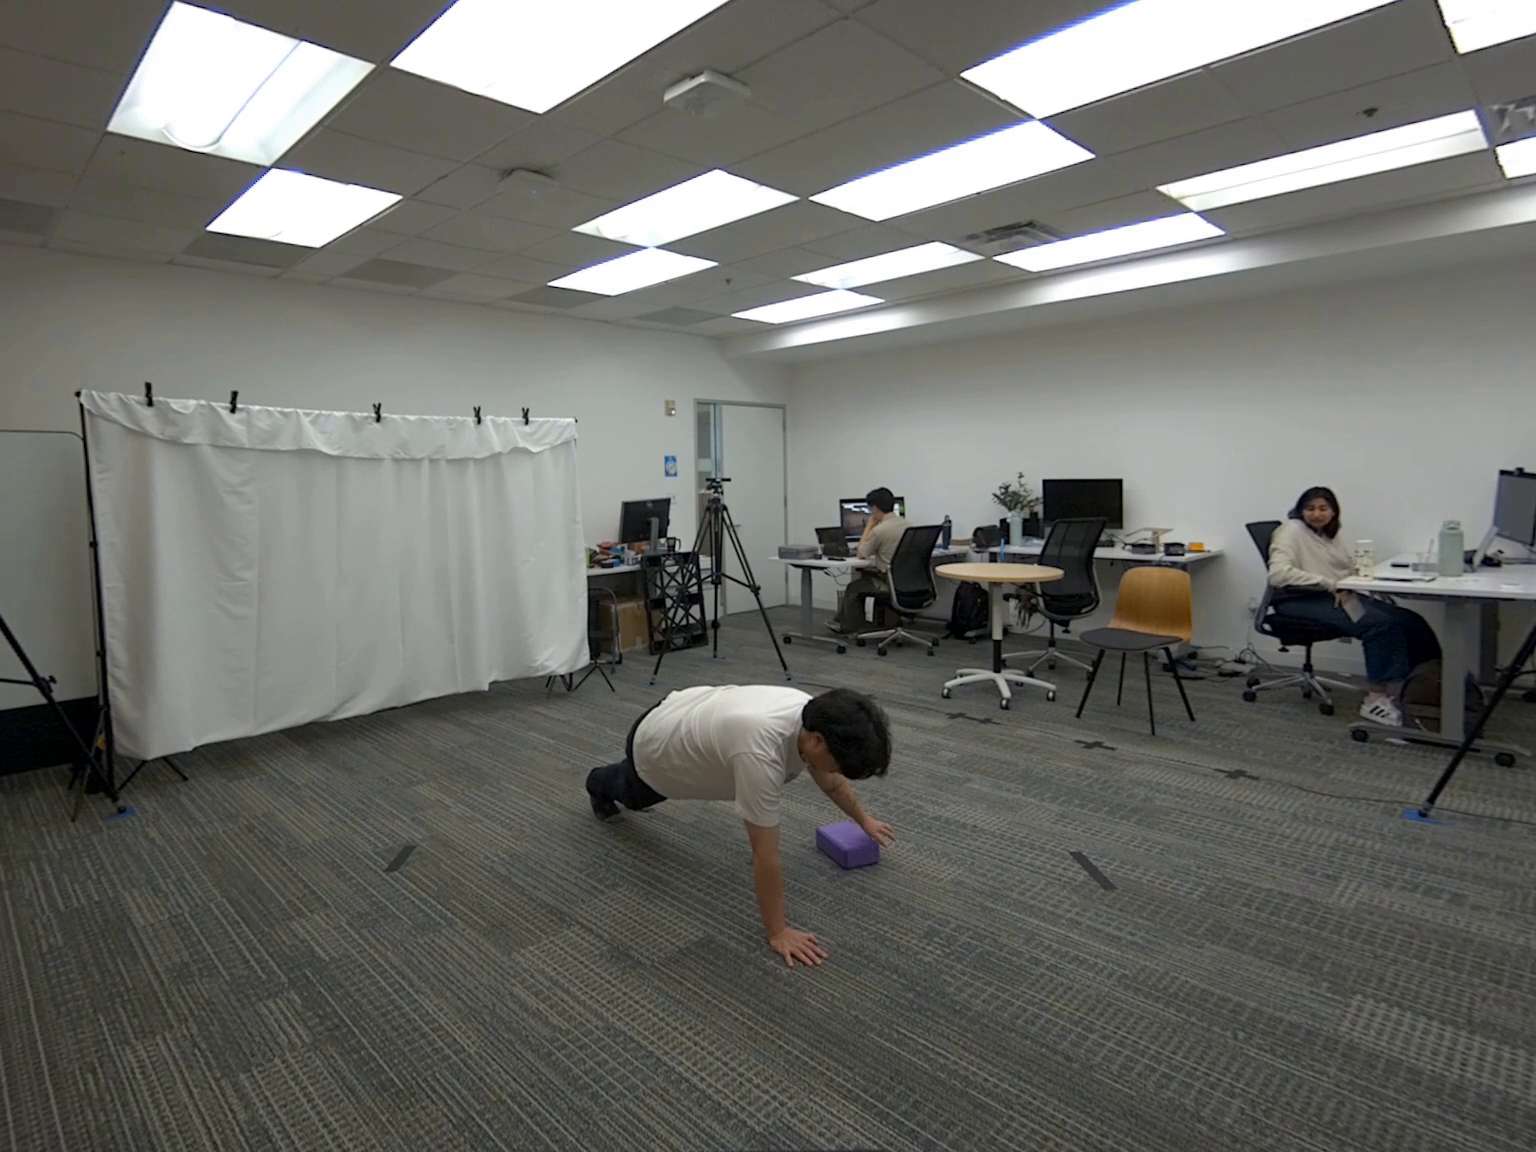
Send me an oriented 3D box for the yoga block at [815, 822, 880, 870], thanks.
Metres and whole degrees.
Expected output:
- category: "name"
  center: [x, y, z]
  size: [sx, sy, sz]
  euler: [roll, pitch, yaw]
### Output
- category: "yoga block"
  center: [0.294, 0.982, 3.150]
  size: [0.146, 0.076, 0.235]
  euler: [-3, 6, -25]
